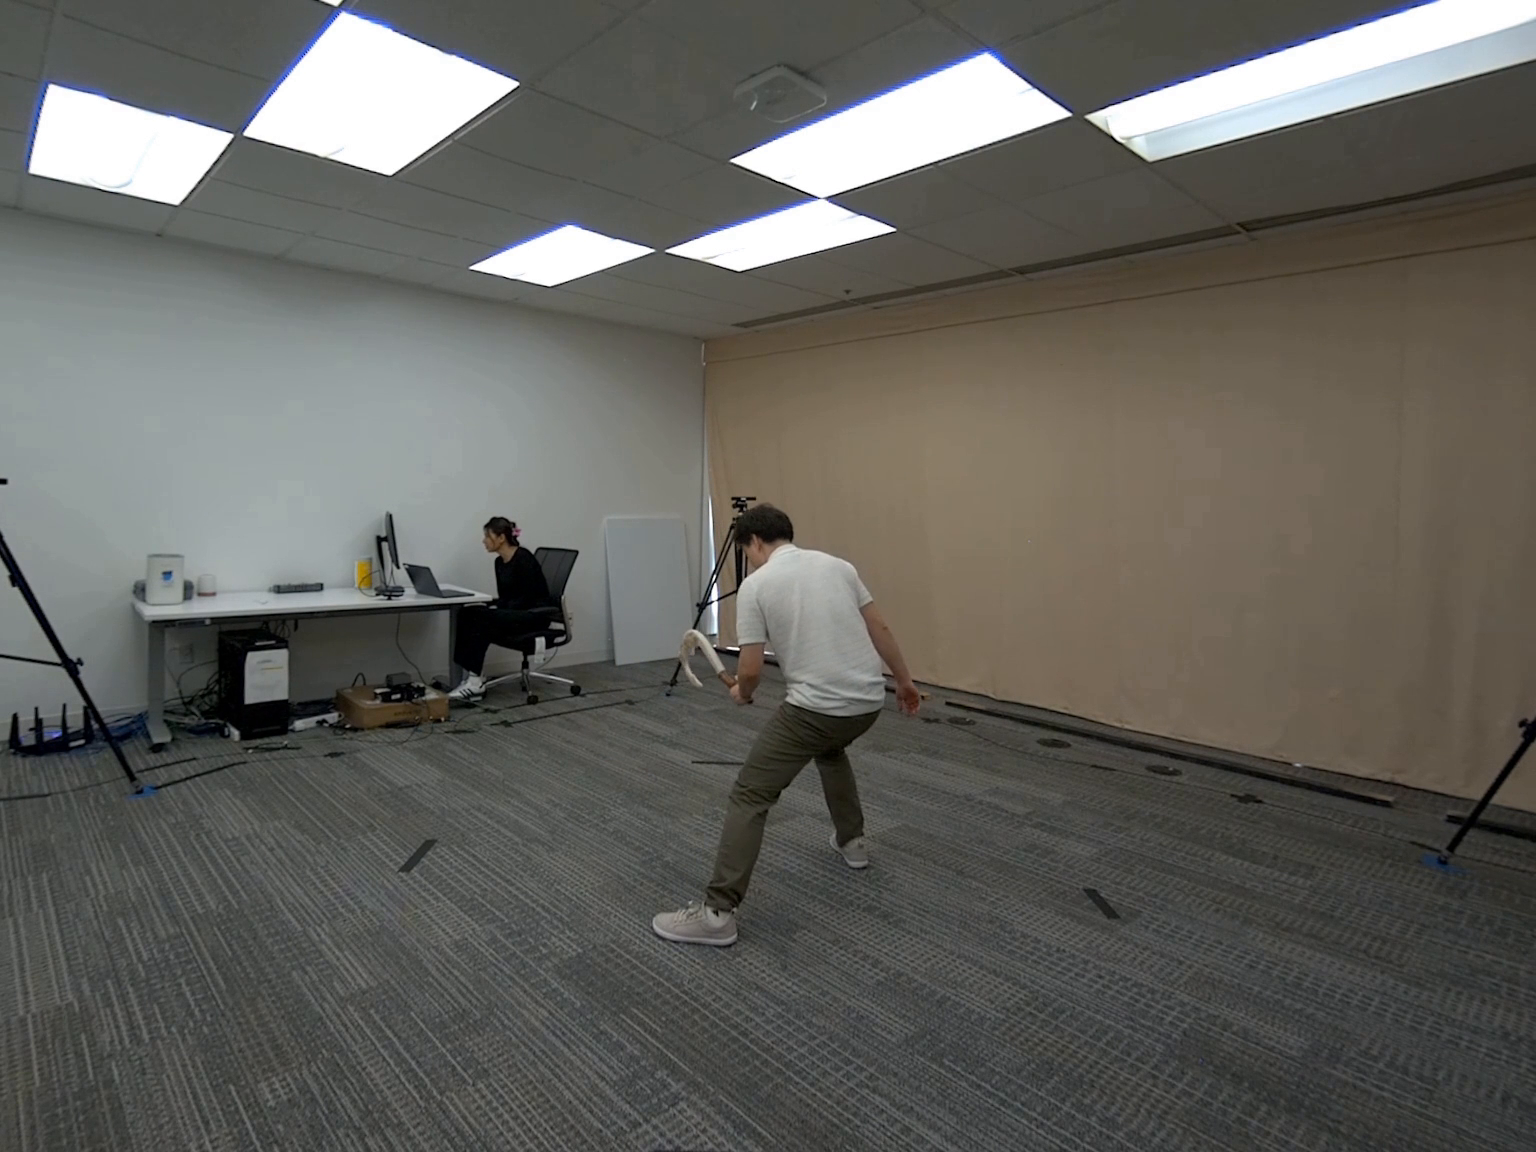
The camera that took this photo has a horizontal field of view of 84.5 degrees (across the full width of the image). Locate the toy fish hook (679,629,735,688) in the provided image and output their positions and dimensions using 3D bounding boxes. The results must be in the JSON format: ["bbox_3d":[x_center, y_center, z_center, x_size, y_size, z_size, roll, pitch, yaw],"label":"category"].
[{"bbox_3d":[-0.231,0.413,3.403,0.047,0.222,0.523,-5,31,-34],"label":"toy fish hook"}]
